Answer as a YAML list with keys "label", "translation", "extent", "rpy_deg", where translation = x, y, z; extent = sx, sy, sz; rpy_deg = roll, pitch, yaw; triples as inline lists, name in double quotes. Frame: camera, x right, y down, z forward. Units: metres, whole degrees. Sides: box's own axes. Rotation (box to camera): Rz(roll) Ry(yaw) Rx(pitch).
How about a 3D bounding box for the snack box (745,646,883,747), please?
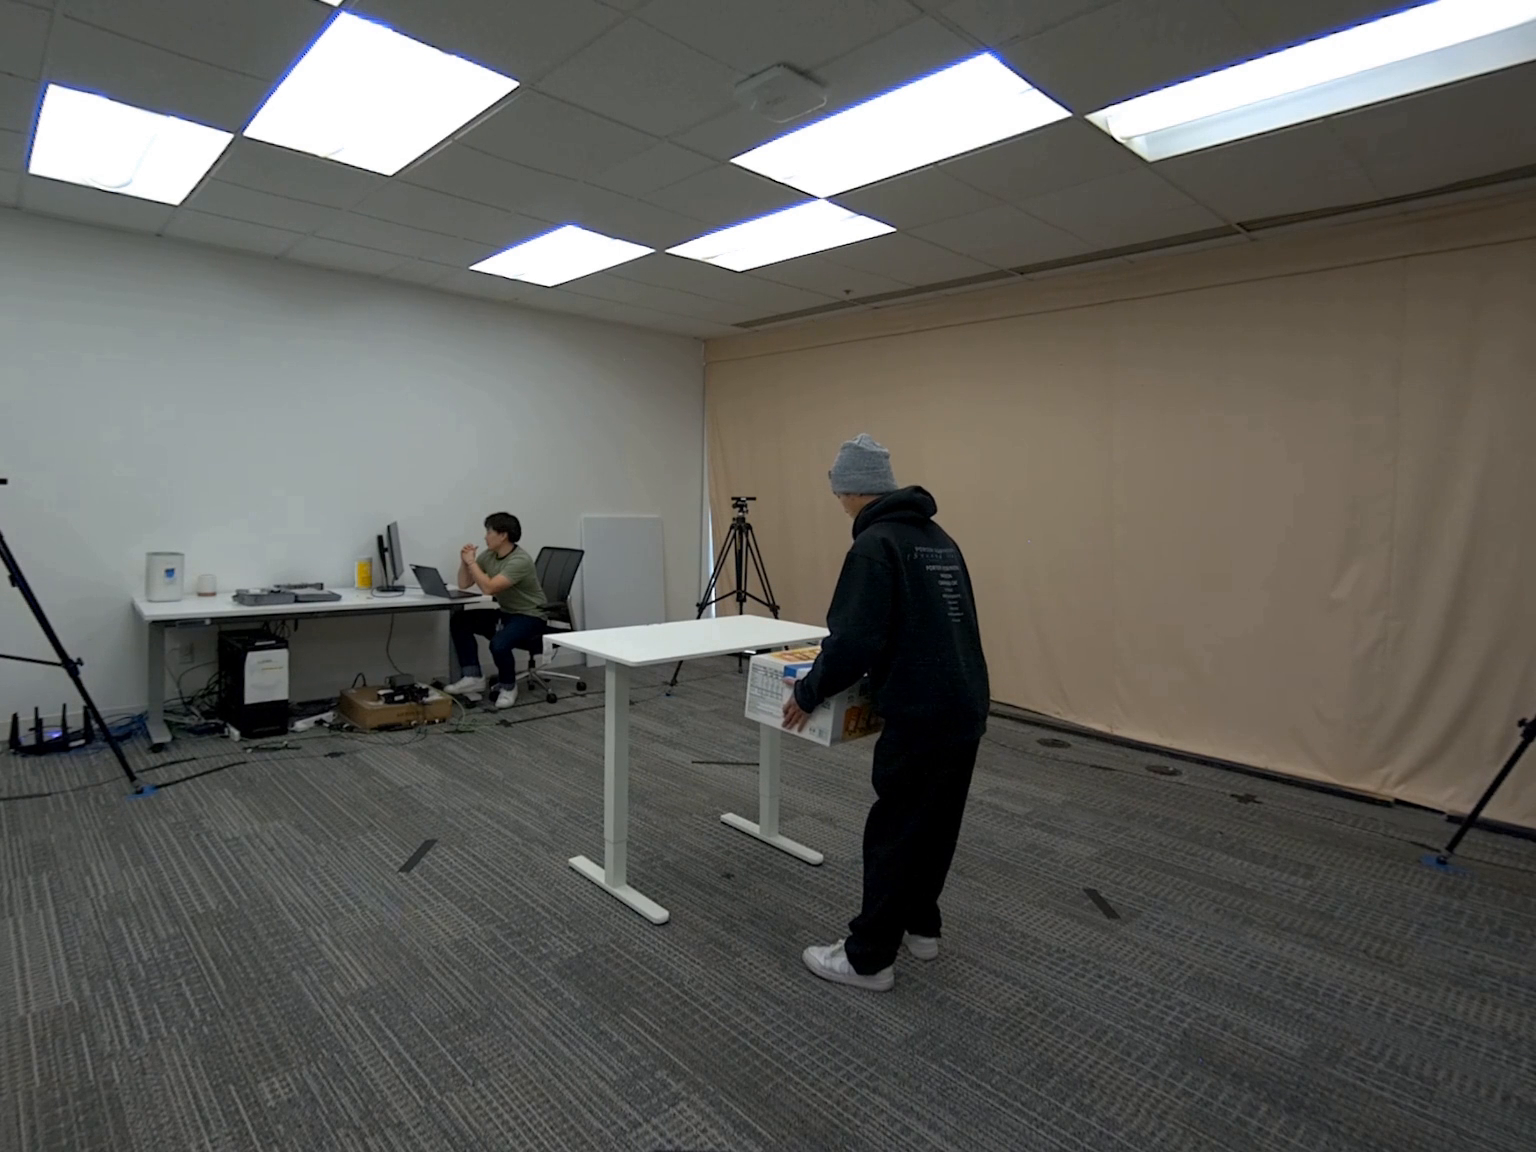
- label: "snack box"
  translation: [0.188, 0.374, 2.717]
  extent: [0.349, 0.205, 0.396]
  rpy_deg: [11, 9, 41]
